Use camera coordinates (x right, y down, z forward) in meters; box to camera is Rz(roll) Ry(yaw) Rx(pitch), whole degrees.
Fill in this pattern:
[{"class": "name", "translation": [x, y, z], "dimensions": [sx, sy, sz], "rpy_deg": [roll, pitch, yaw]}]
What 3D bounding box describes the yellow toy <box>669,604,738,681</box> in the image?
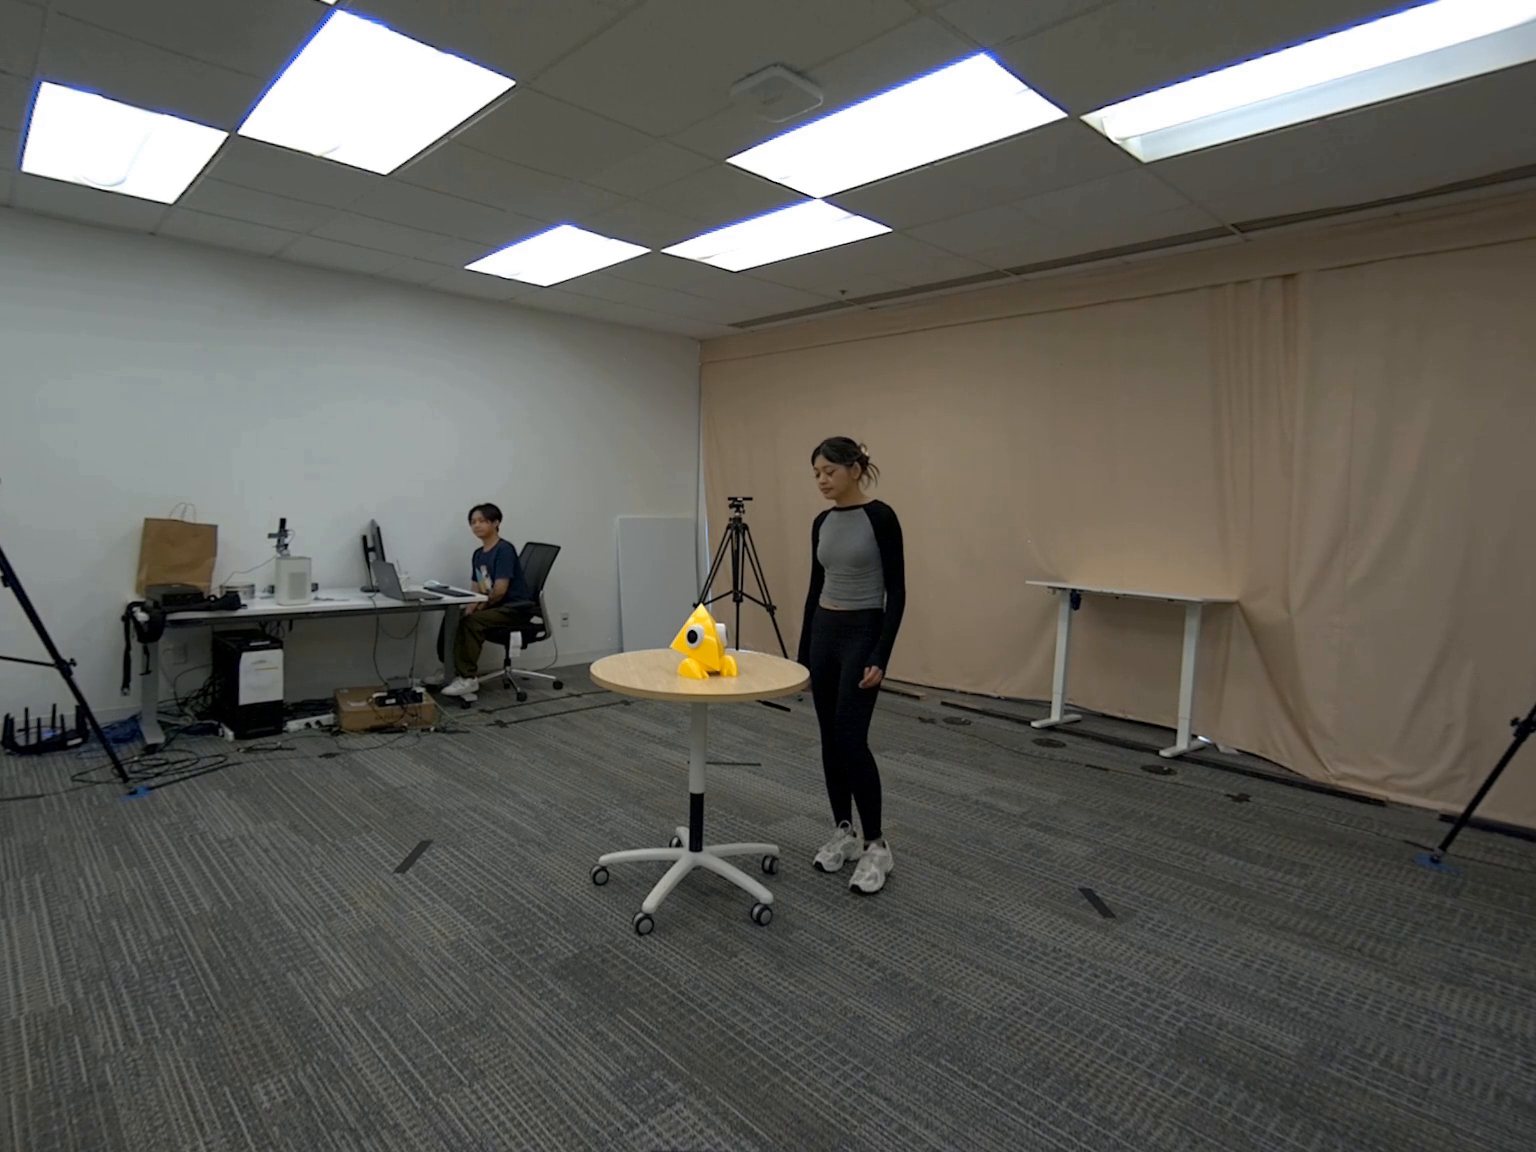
[{"class": "yellow toy", "translation": [-0.213, 0.221, 2.879], "dimensions": [0.201, 0.230, 0.197], "rpy_deg": [0, 6, -28]}]
